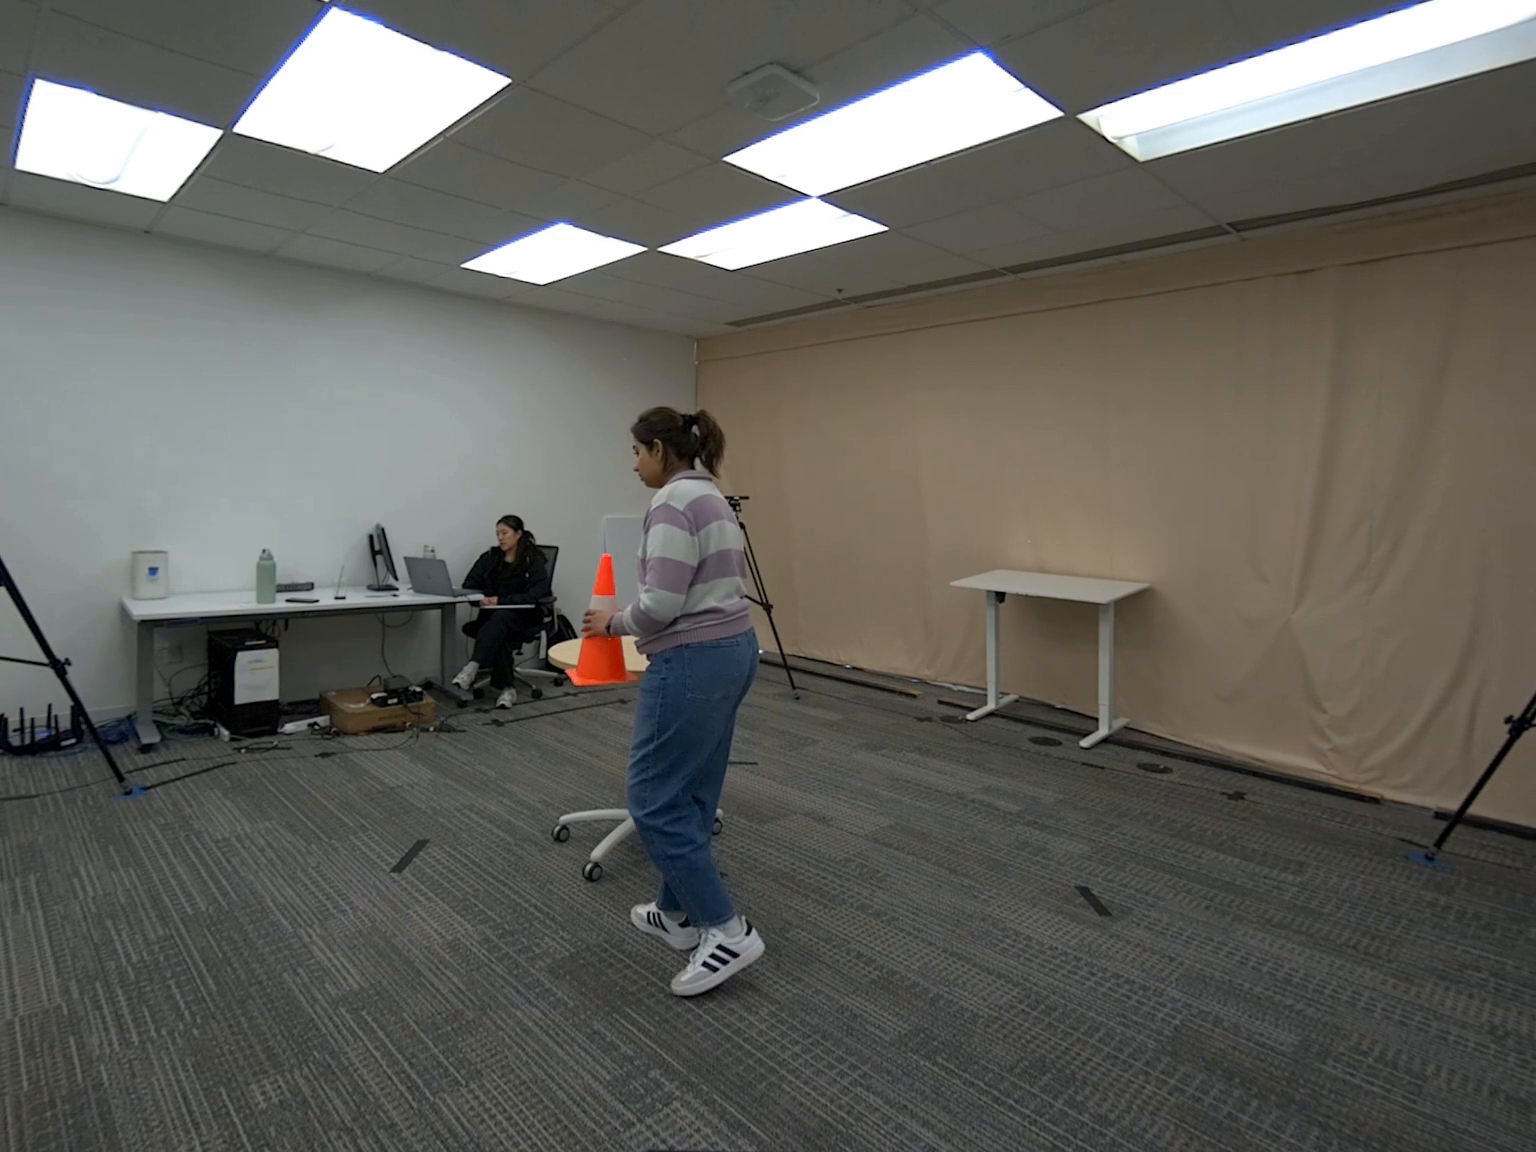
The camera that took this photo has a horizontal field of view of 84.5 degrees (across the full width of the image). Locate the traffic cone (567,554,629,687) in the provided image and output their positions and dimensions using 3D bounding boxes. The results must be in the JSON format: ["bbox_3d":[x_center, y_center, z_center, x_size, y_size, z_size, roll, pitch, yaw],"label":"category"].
[{"bbox_3d":[-0.508,0.131,2.609,0.200,0.382,0.209,0,6,-39],"label":"traffic cone"}]
